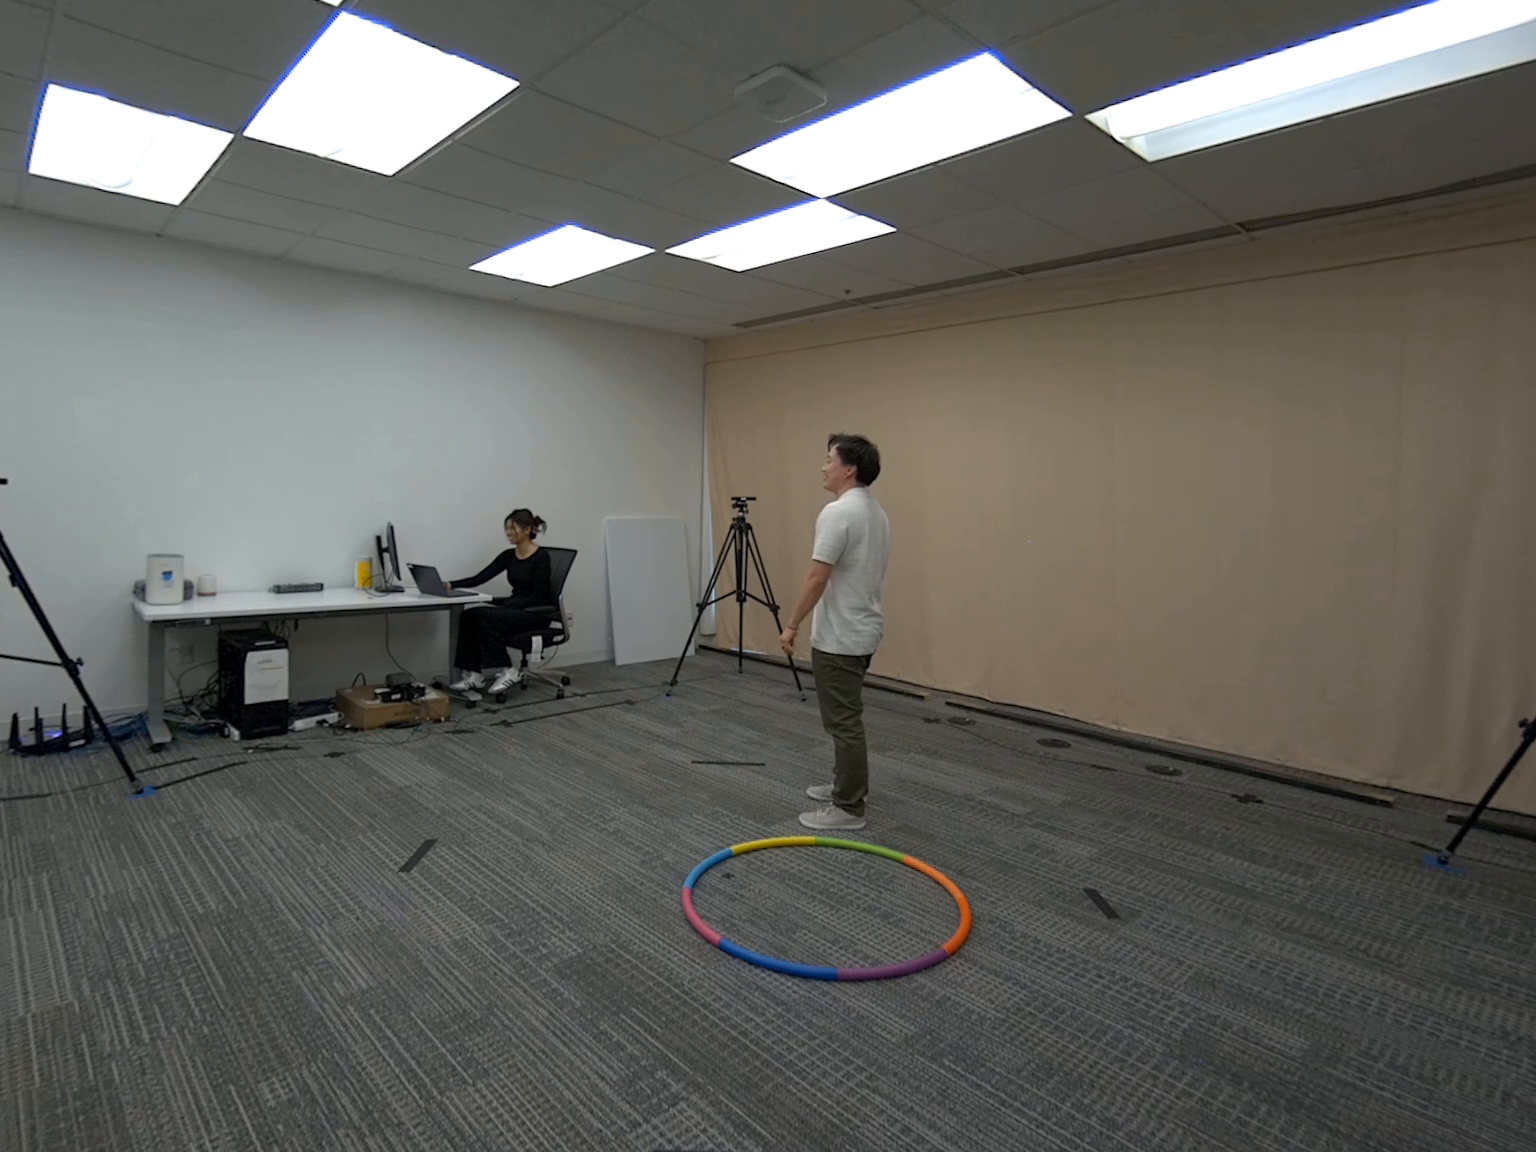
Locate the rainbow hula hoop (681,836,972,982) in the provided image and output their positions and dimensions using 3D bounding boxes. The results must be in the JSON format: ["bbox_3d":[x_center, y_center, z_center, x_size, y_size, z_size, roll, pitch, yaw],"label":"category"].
[{"bbox_3d":[0.182,1.100,2.924,0.978,0.035,0.982,1,5,-1],"label":"rainbow hula hoop"}]
